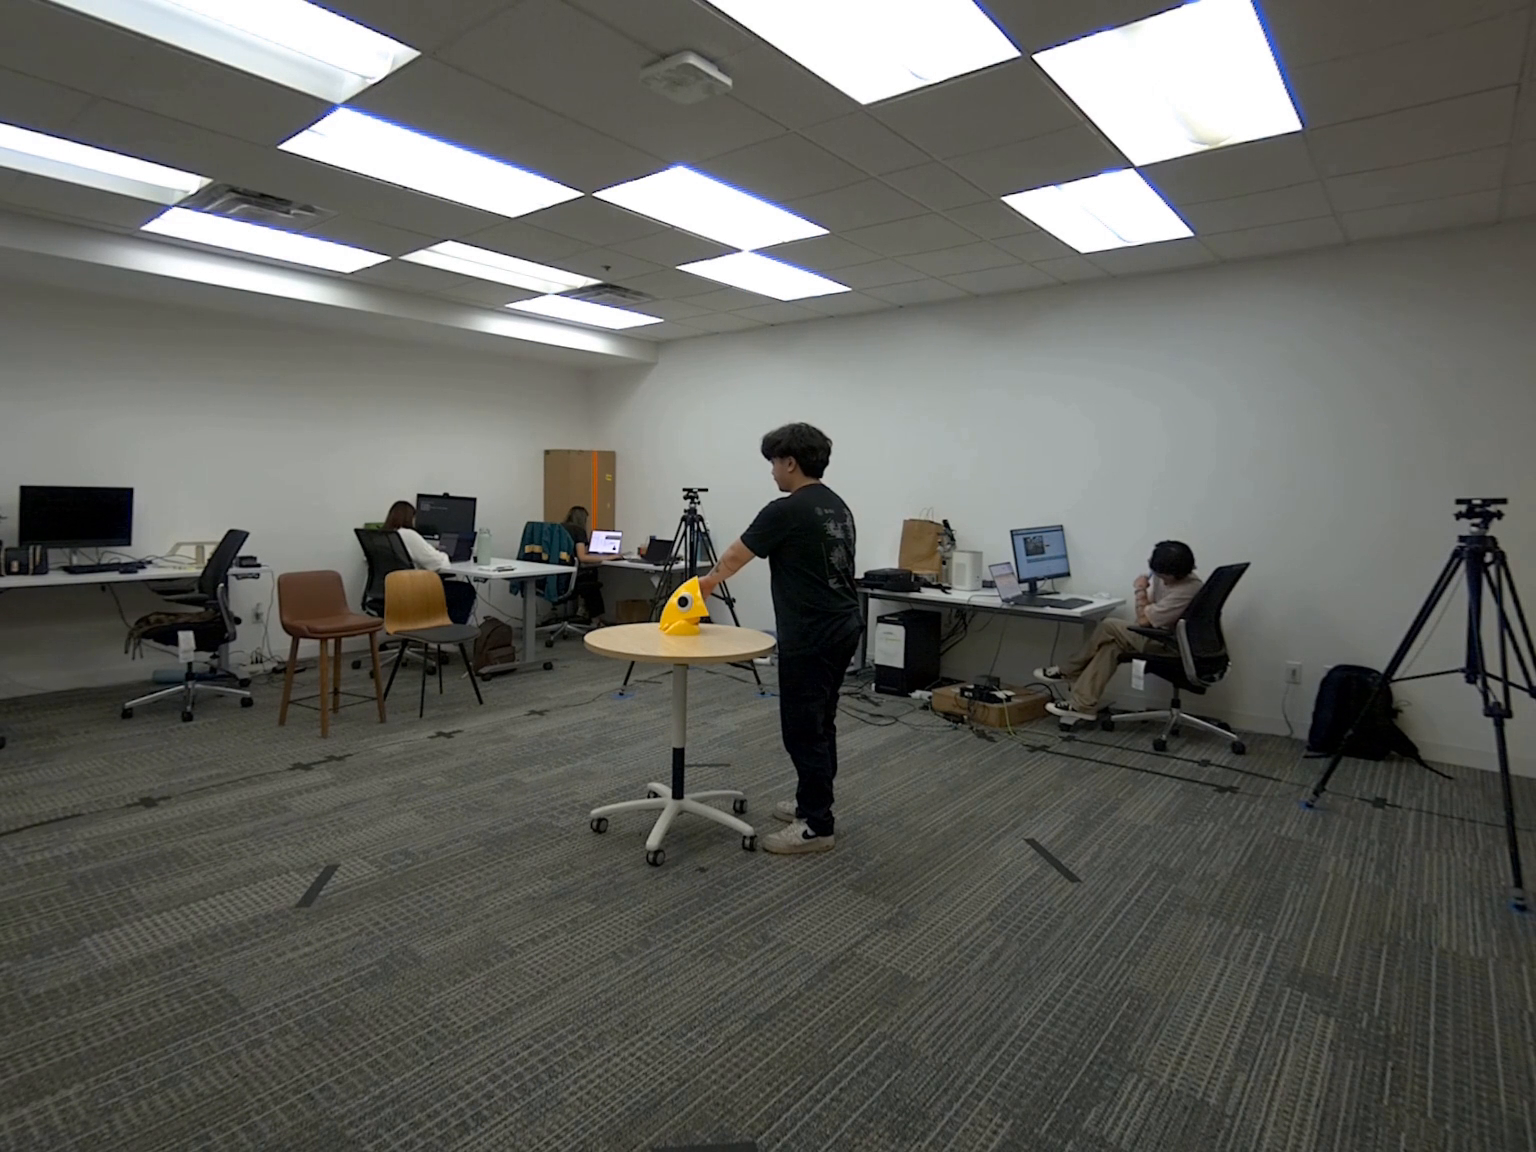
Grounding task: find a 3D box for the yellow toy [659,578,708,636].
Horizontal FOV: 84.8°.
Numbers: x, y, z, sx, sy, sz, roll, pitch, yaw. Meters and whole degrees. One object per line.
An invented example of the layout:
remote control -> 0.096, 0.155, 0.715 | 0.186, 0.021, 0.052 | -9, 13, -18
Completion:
yellow toy -> -0.371, 0.113, 3.573 | 0.190, 0.230, 0.209 | 0, 5, -16
